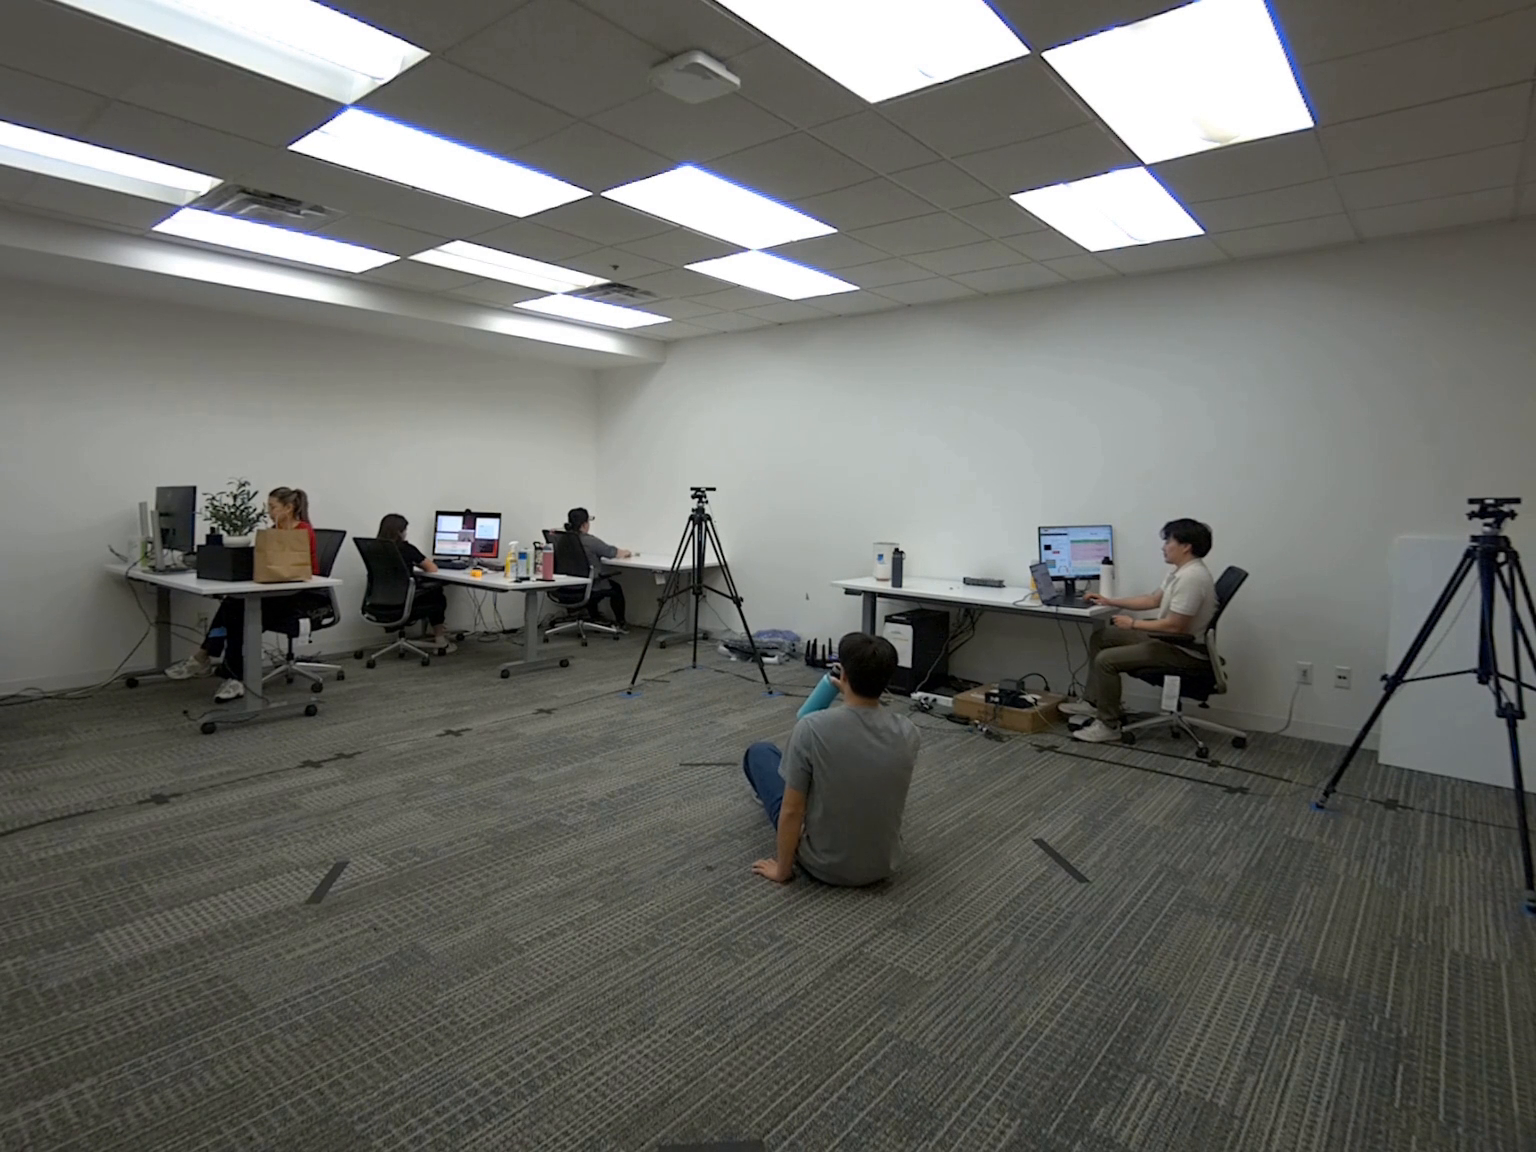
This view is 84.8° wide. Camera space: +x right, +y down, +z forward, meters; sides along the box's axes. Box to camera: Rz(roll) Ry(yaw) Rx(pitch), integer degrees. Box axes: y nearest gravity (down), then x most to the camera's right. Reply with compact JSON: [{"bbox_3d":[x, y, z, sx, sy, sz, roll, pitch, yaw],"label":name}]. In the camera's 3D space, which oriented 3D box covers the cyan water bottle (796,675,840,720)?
[{"bbox_3d":[0.216,0.493,3.509,0.091,0.281,0.094,24,21,-12],"label":"cyan water bottle"}]
